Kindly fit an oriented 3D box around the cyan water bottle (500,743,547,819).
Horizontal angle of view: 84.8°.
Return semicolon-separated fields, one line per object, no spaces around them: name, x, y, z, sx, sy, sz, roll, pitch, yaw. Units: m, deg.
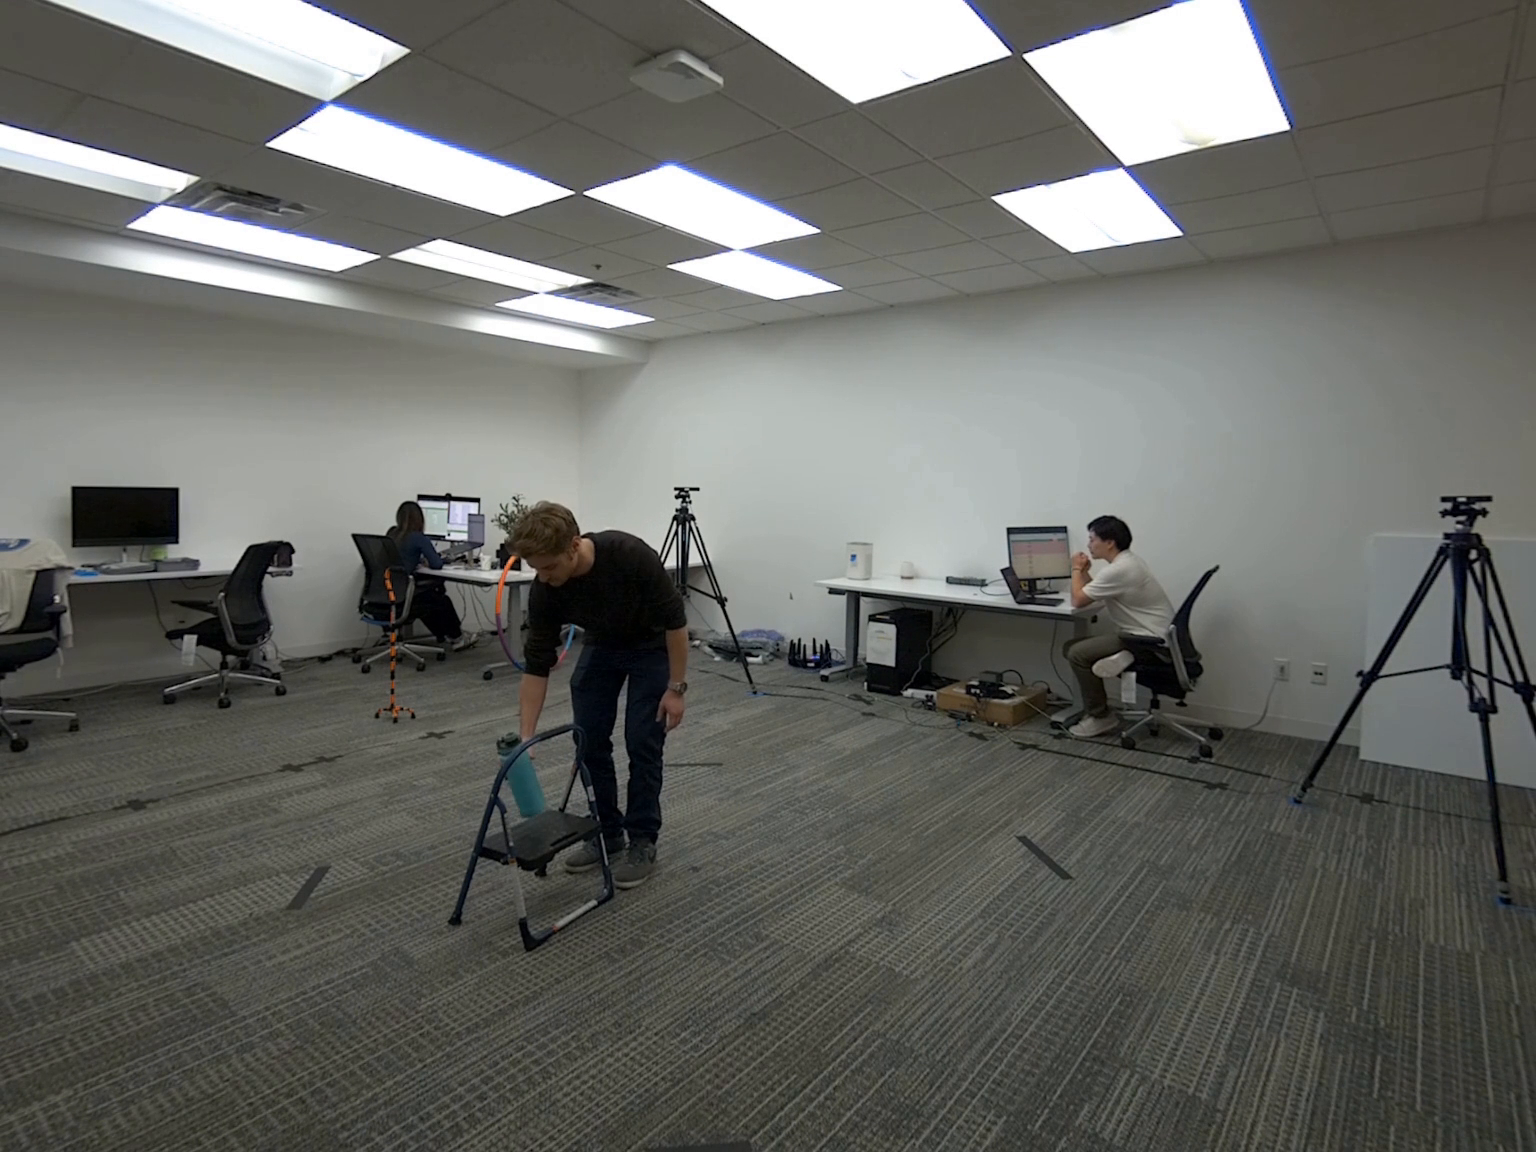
cyan water bottle;-0.820;0.638;2.761;0.092;0.280;0.093;-13;10;1
